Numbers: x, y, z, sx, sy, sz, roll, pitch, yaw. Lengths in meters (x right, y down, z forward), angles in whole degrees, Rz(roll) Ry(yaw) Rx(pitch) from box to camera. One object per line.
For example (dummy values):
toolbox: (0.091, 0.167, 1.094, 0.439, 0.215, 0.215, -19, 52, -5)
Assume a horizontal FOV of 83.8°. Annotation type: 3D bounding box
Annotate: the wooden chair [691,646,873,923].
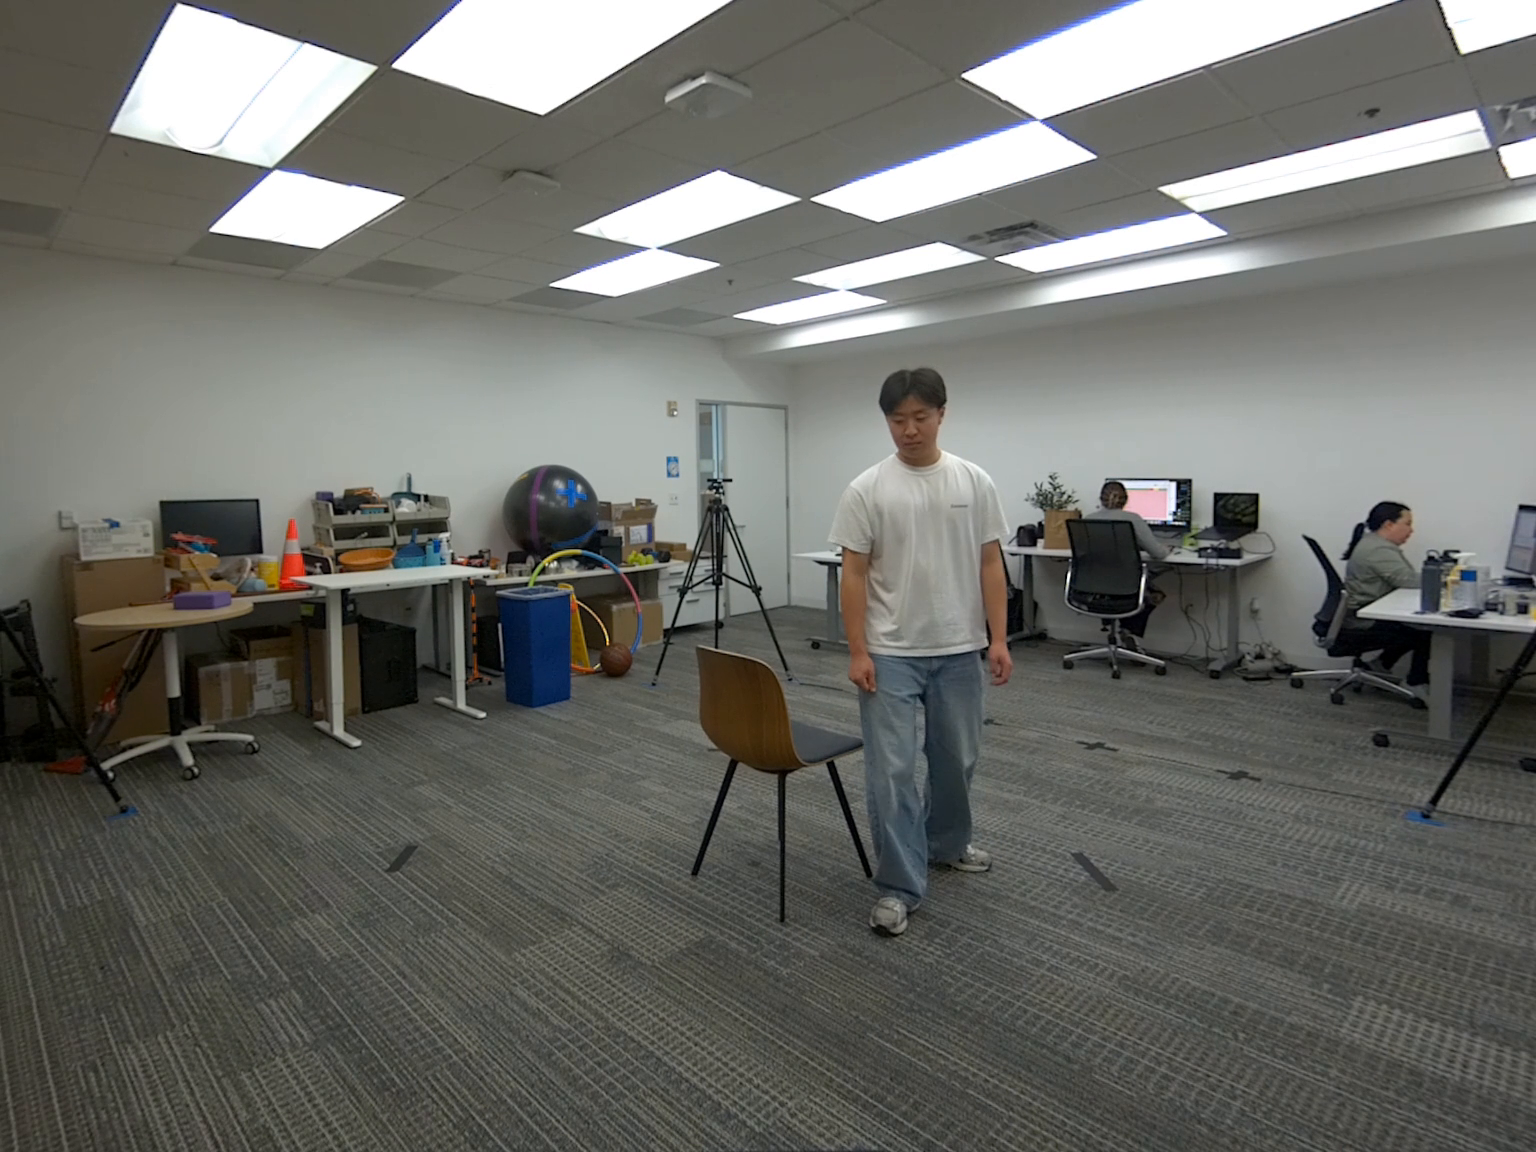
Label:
wooden chair: (0.046, 0.630, 2.974, 0.511, 0.871, 0.493, -11, 10, -43)
